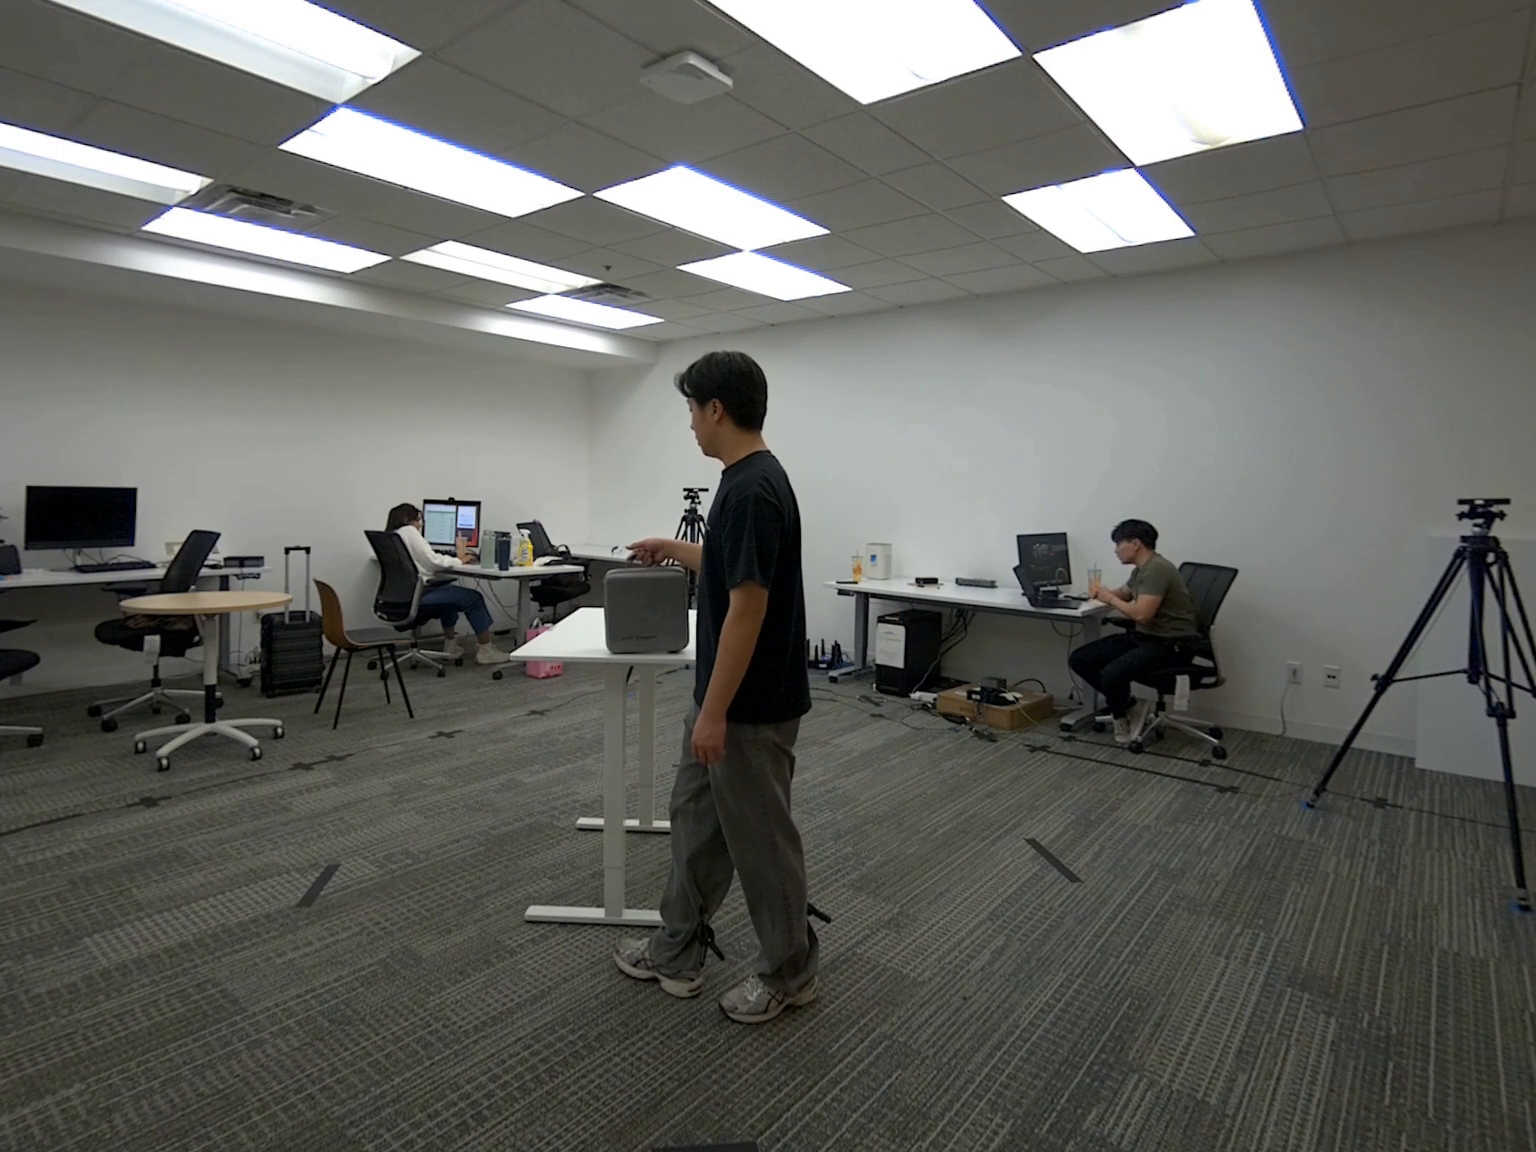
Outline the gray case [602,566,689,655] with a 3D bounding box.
[{"bbox_3d":[-0.388,0.085,2.620,0.262,0.285,0.104,-2,6,-3],"label":"gray case"}]
